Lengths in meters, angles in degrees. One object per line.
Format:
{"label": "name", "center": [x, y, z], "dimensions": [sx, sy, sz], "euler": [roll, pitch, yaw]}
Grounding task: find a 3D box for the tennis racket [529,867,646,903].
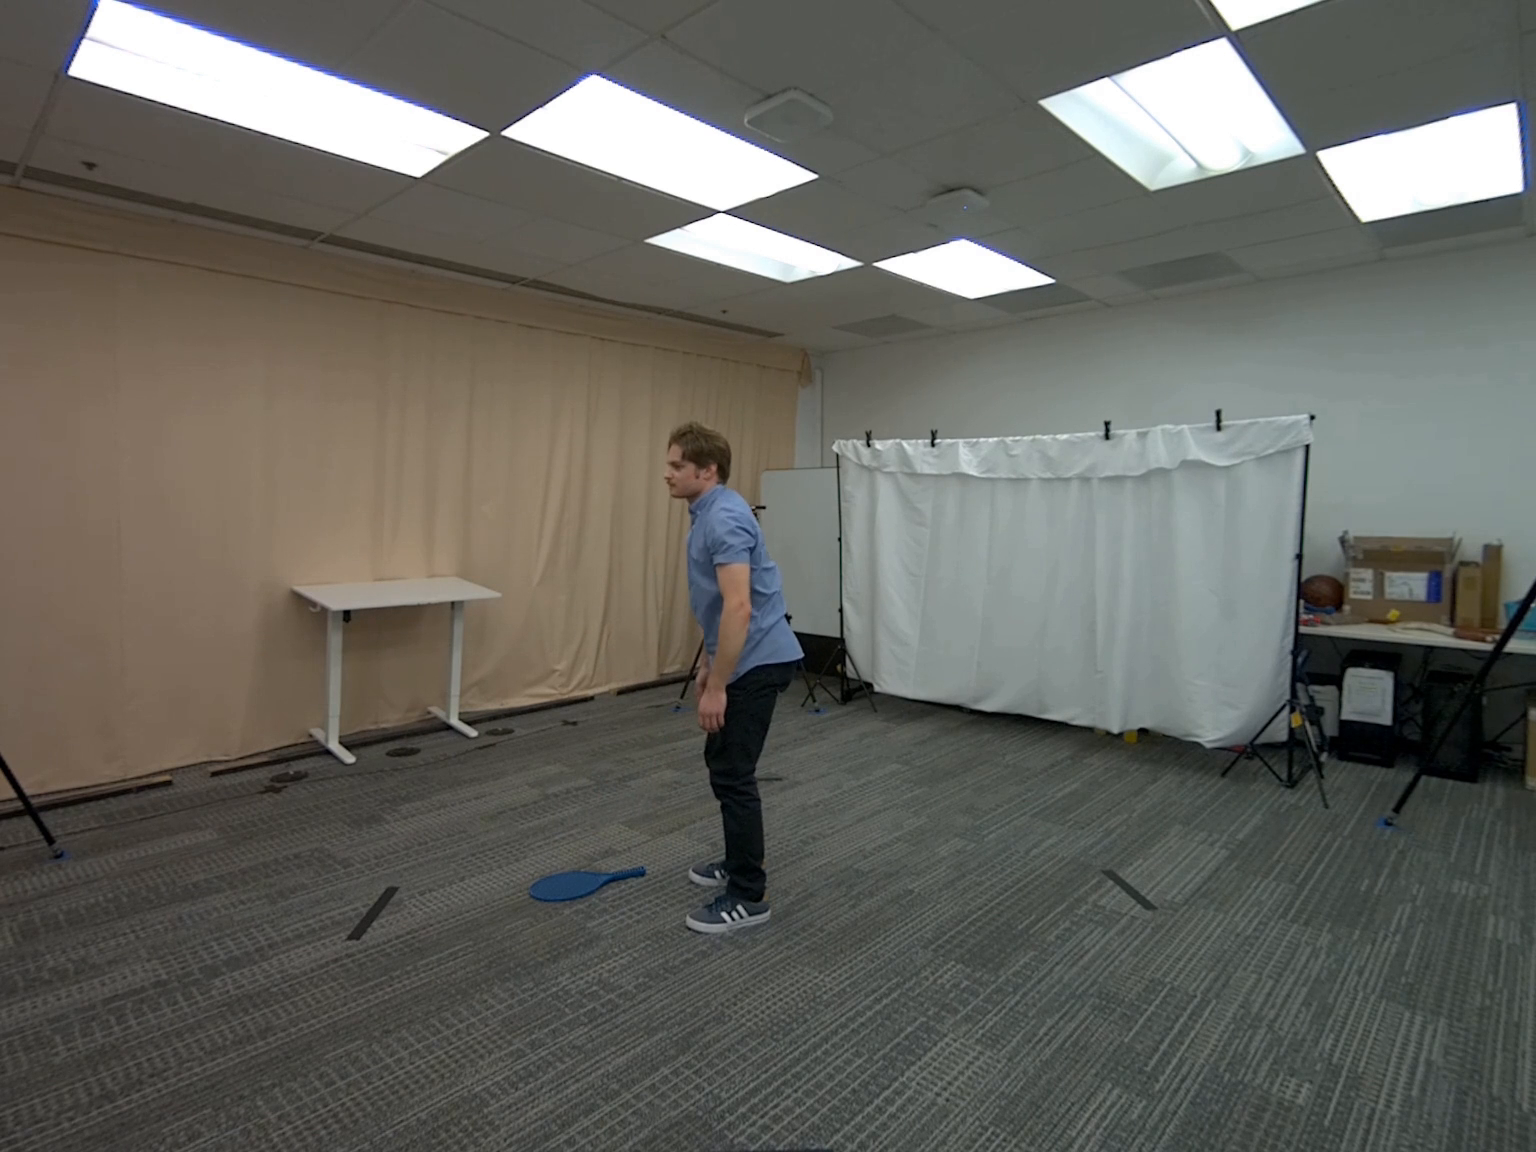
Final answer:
{"label": "tennis racket", "center": [-0.663, 1.125, 3.109], "dimensions": [0.423, 0.032, 0.219], "euler": [-4, 5, -23]}
